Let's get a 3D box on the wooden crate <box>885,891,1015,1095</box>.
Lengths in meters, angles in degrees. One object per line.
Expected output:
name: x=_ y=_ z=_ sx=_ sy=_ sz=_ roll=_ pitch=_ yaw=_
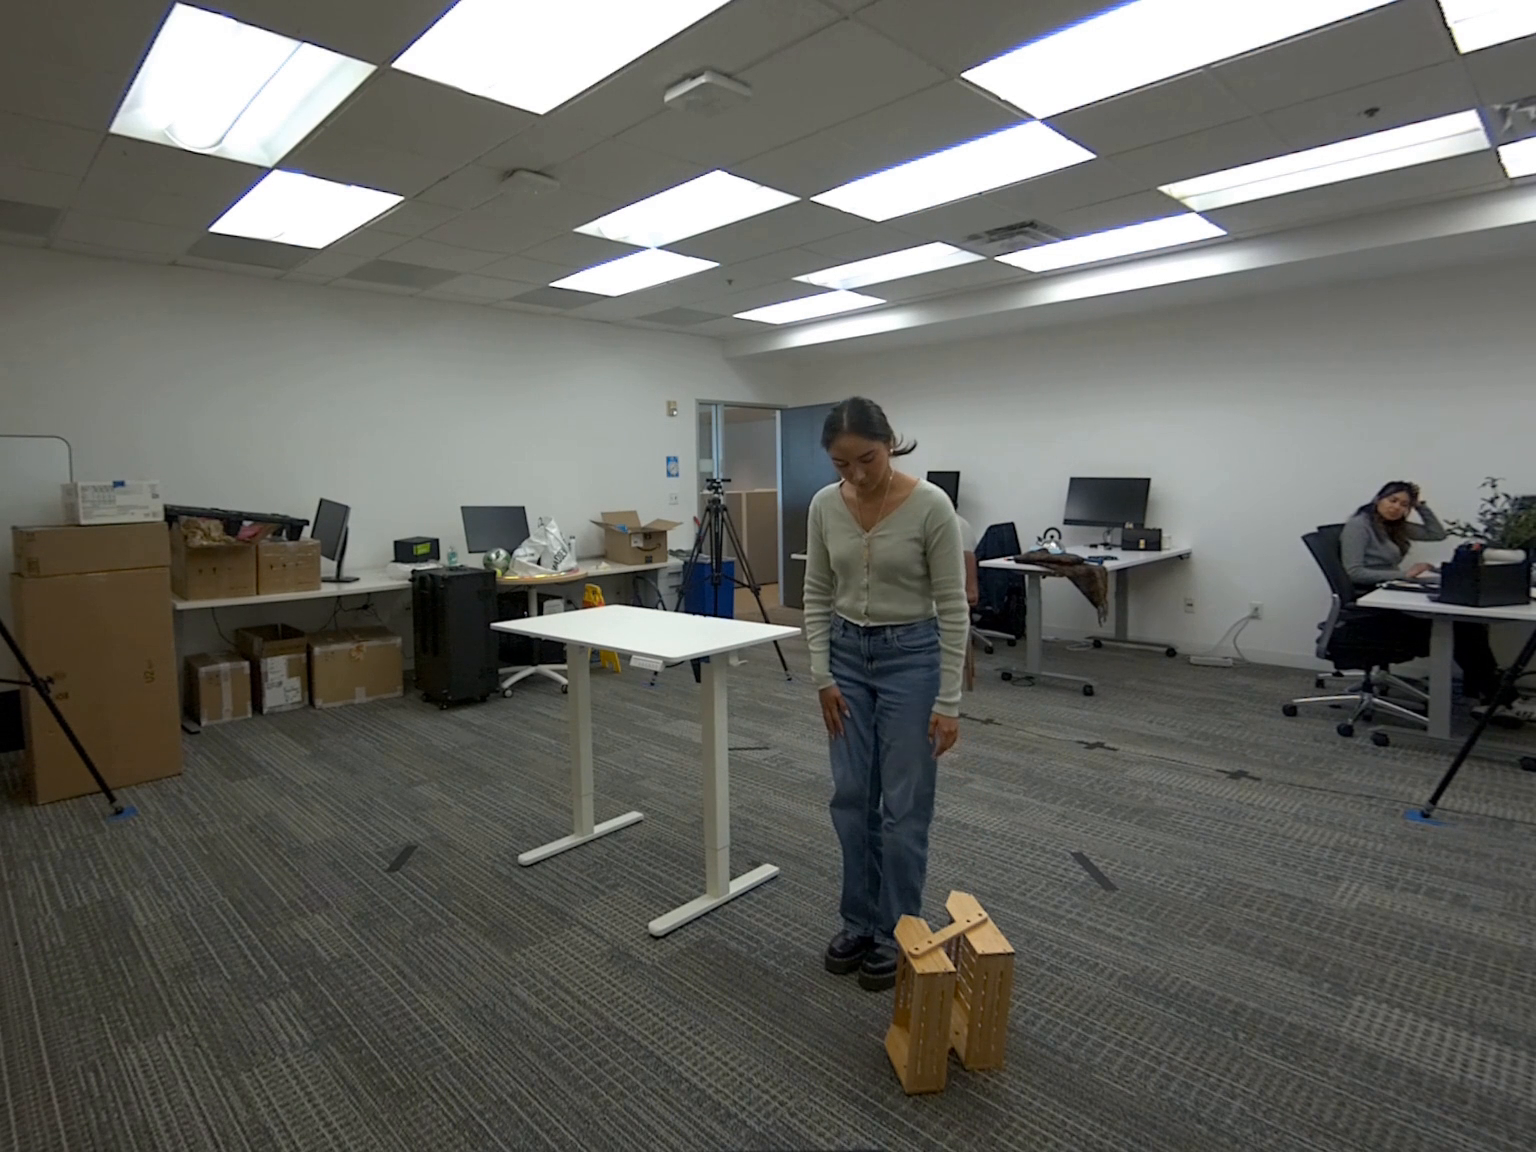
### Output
wooden crate: x=0.422 y=0.997 z=2.059 sx=0.270 sy=0.322 sz=0.308 roll=1 pitch=10 yaw=-14
